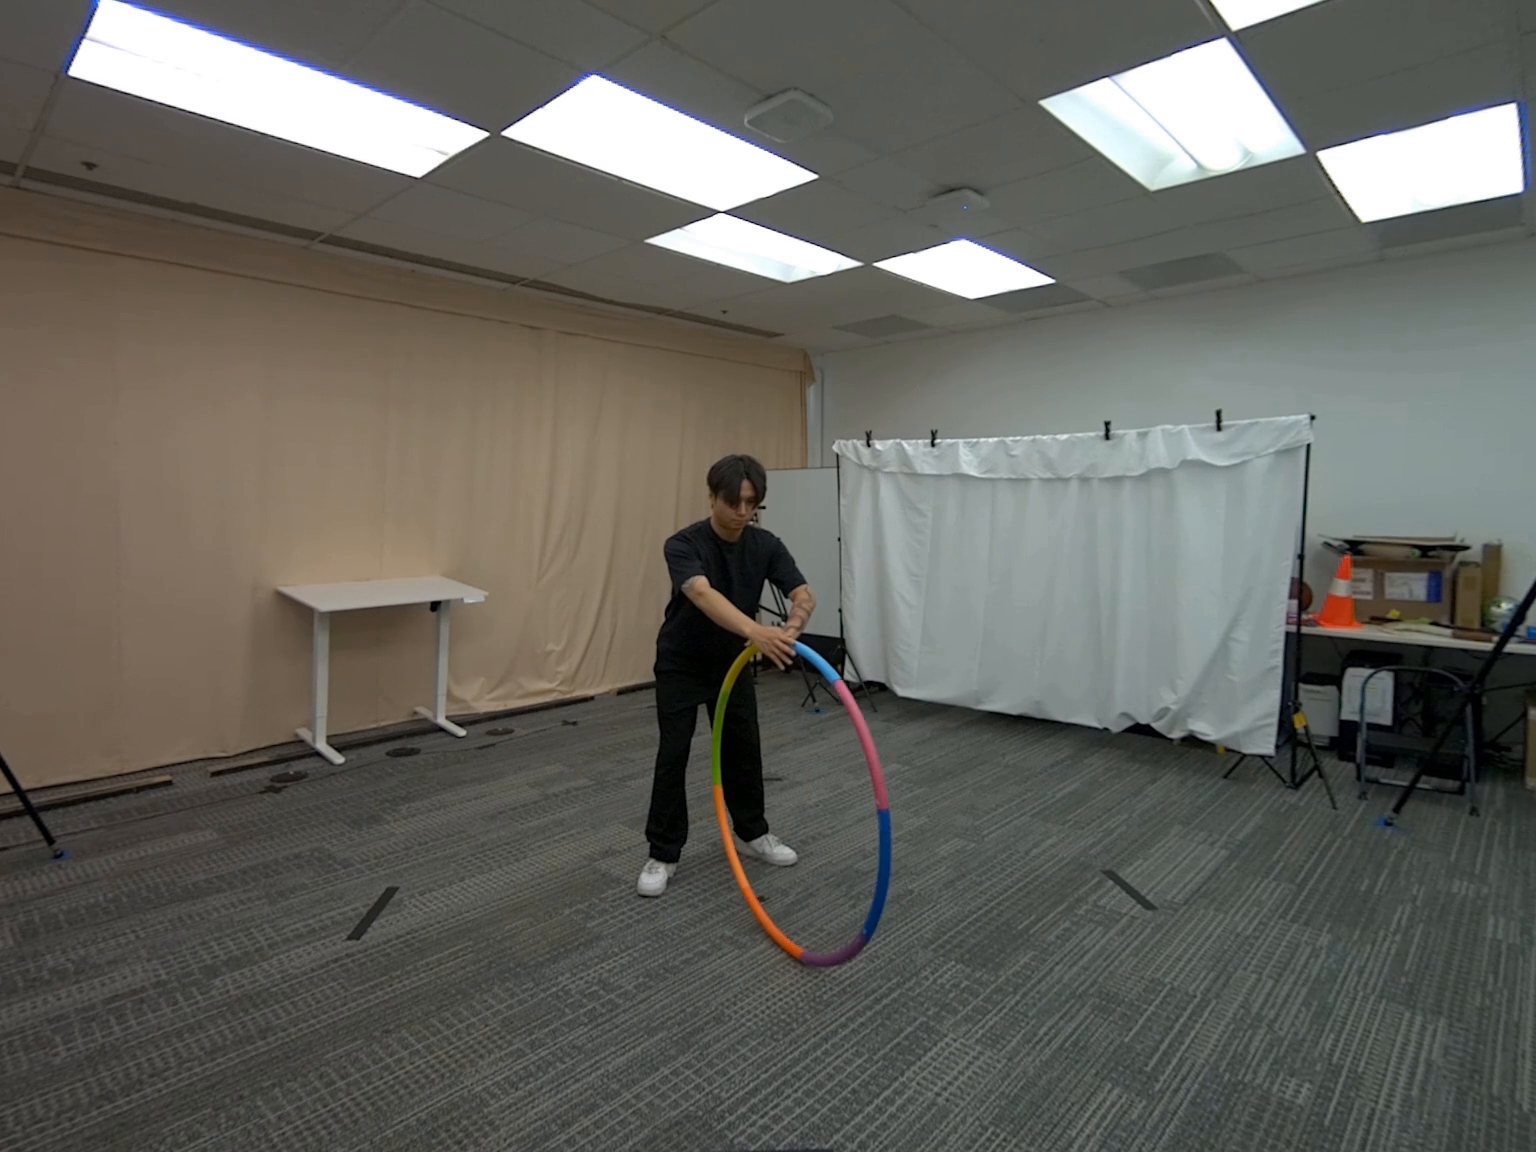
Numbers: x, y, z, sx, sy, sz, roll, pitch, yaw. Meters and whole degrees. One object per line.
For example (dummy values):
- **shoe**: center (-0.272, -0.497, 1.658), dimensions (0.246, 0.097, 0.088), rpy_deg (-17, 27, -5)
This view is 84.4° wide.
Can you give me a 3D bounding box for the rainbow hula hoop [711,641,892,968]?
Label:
- **rainbow hula hoop**: center (0.065, 0.686, 2.615), dimensions (0.034, 0.977, 1.007), rpy_deg (-1, 4, -30)
